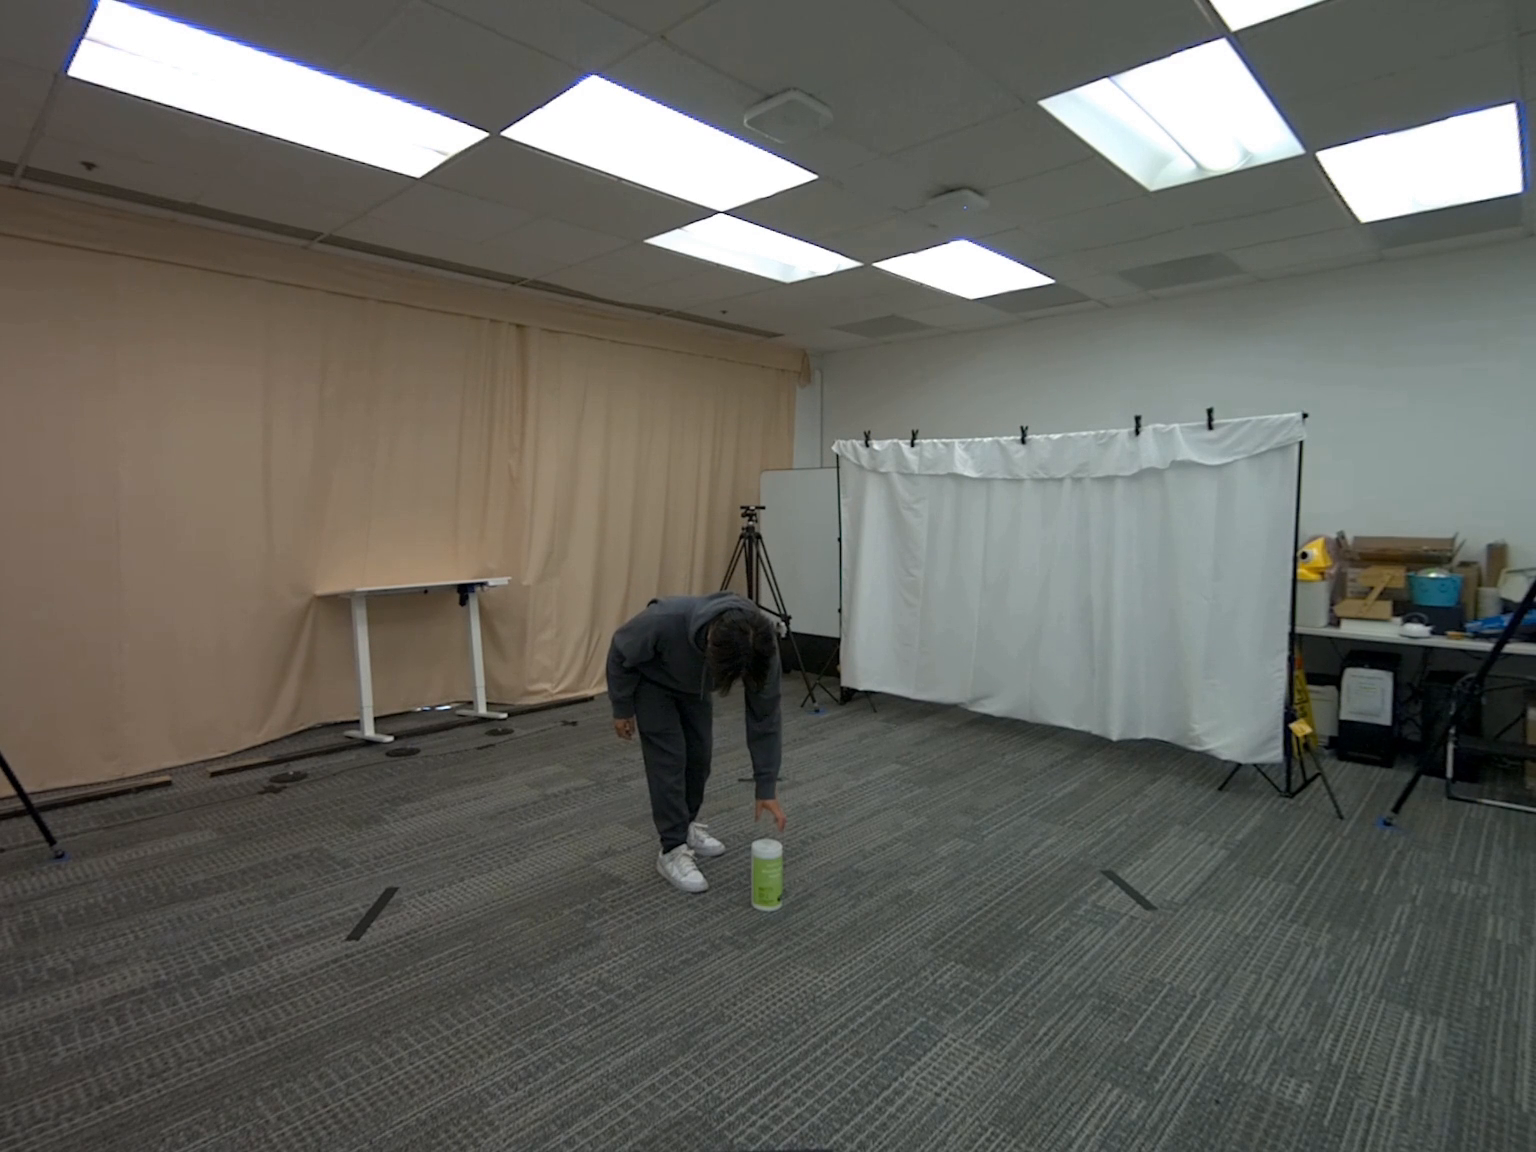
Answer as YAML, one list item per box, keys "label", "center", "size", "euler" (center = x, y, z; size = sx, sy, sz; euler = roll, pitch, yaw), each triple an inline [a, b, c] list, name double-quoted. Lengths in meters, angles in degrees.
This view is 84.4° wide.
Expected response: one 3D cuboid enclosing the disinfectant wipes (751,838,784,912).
- label: "disinfectant wipes"
  center: [-0.004, 1.041, 2.934]
  size: [0.118, 0.217, 0.118]
  euler: [0, 3, -2]
